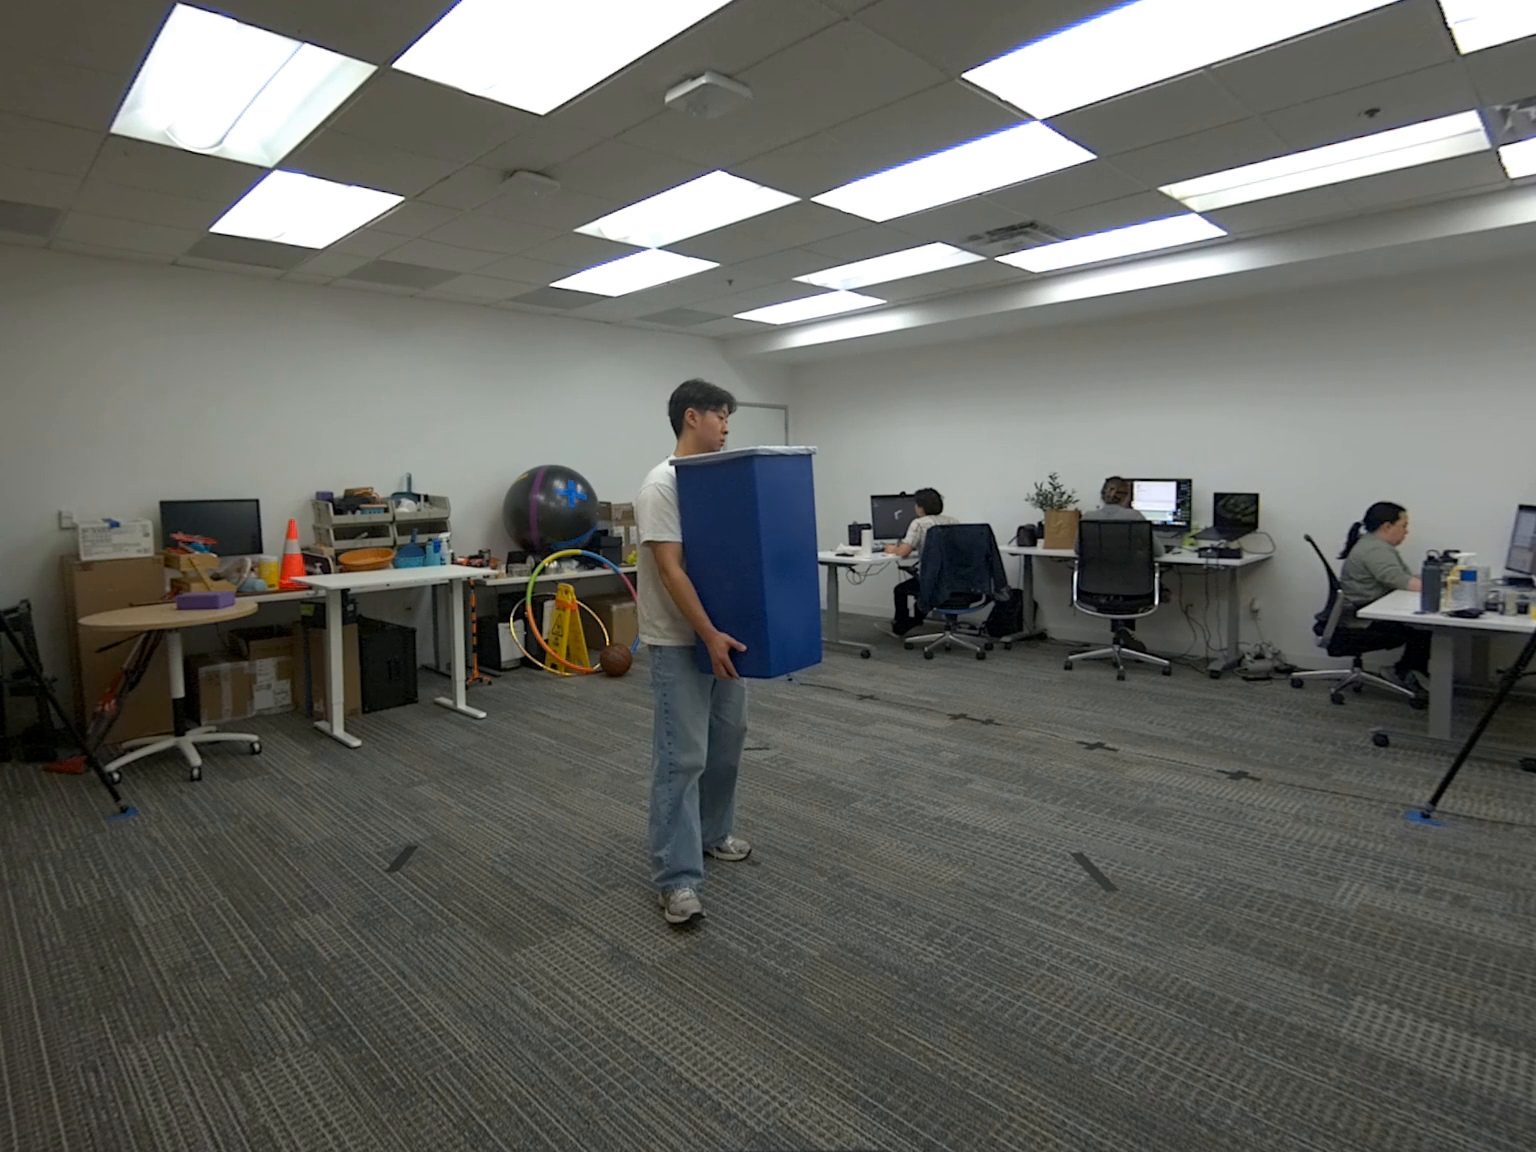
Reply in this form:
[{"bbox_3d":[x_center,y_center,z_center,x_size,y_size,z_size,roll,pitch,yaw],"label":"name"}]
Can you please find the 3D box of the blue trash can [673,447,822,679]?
[{"bbox_3d":[-0.051,-0.052,2.806,0.388,0.713,0.364,-4,2,39],"label":"blue trash can"}]
